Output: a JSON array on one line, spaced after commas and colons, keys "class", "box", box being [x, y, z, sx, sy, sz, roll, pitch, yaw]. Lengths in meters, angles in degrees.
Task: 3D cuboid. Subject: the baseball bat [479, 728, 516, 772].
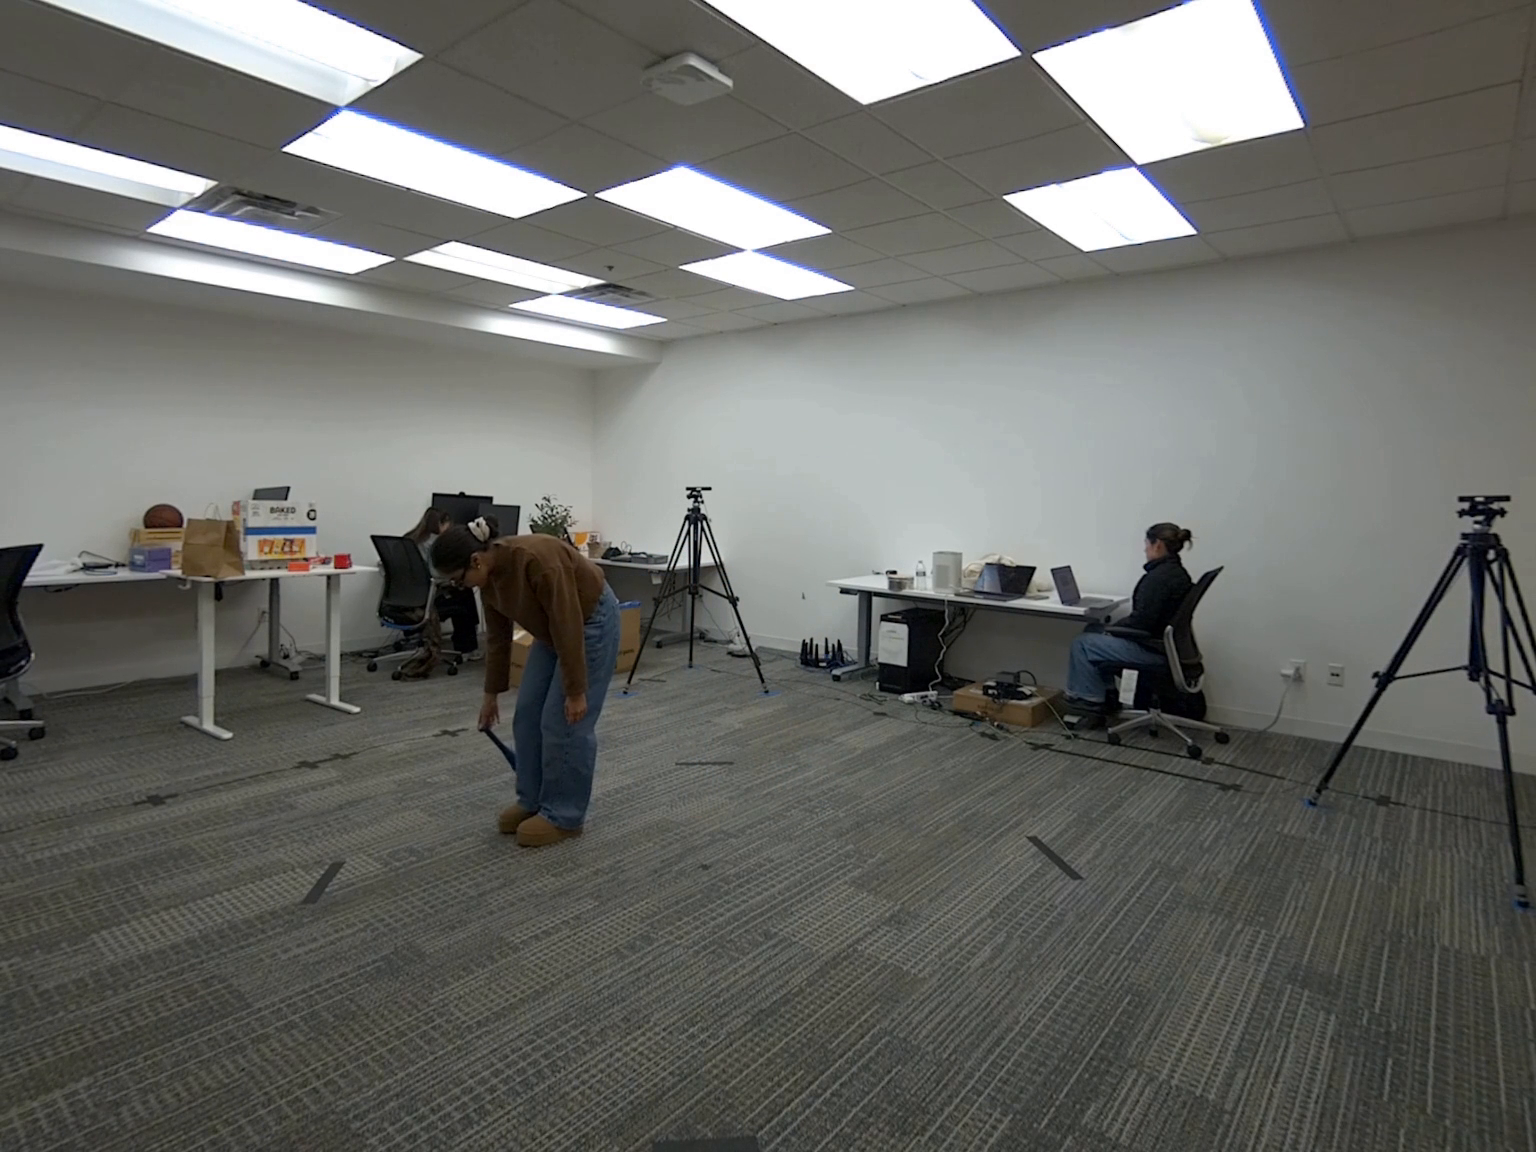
[{"class": "baseball bat", "box": [-1.083, 0.788, 3.612, 0.090, 0.522, 0.091, -19, 39, 15]}]
